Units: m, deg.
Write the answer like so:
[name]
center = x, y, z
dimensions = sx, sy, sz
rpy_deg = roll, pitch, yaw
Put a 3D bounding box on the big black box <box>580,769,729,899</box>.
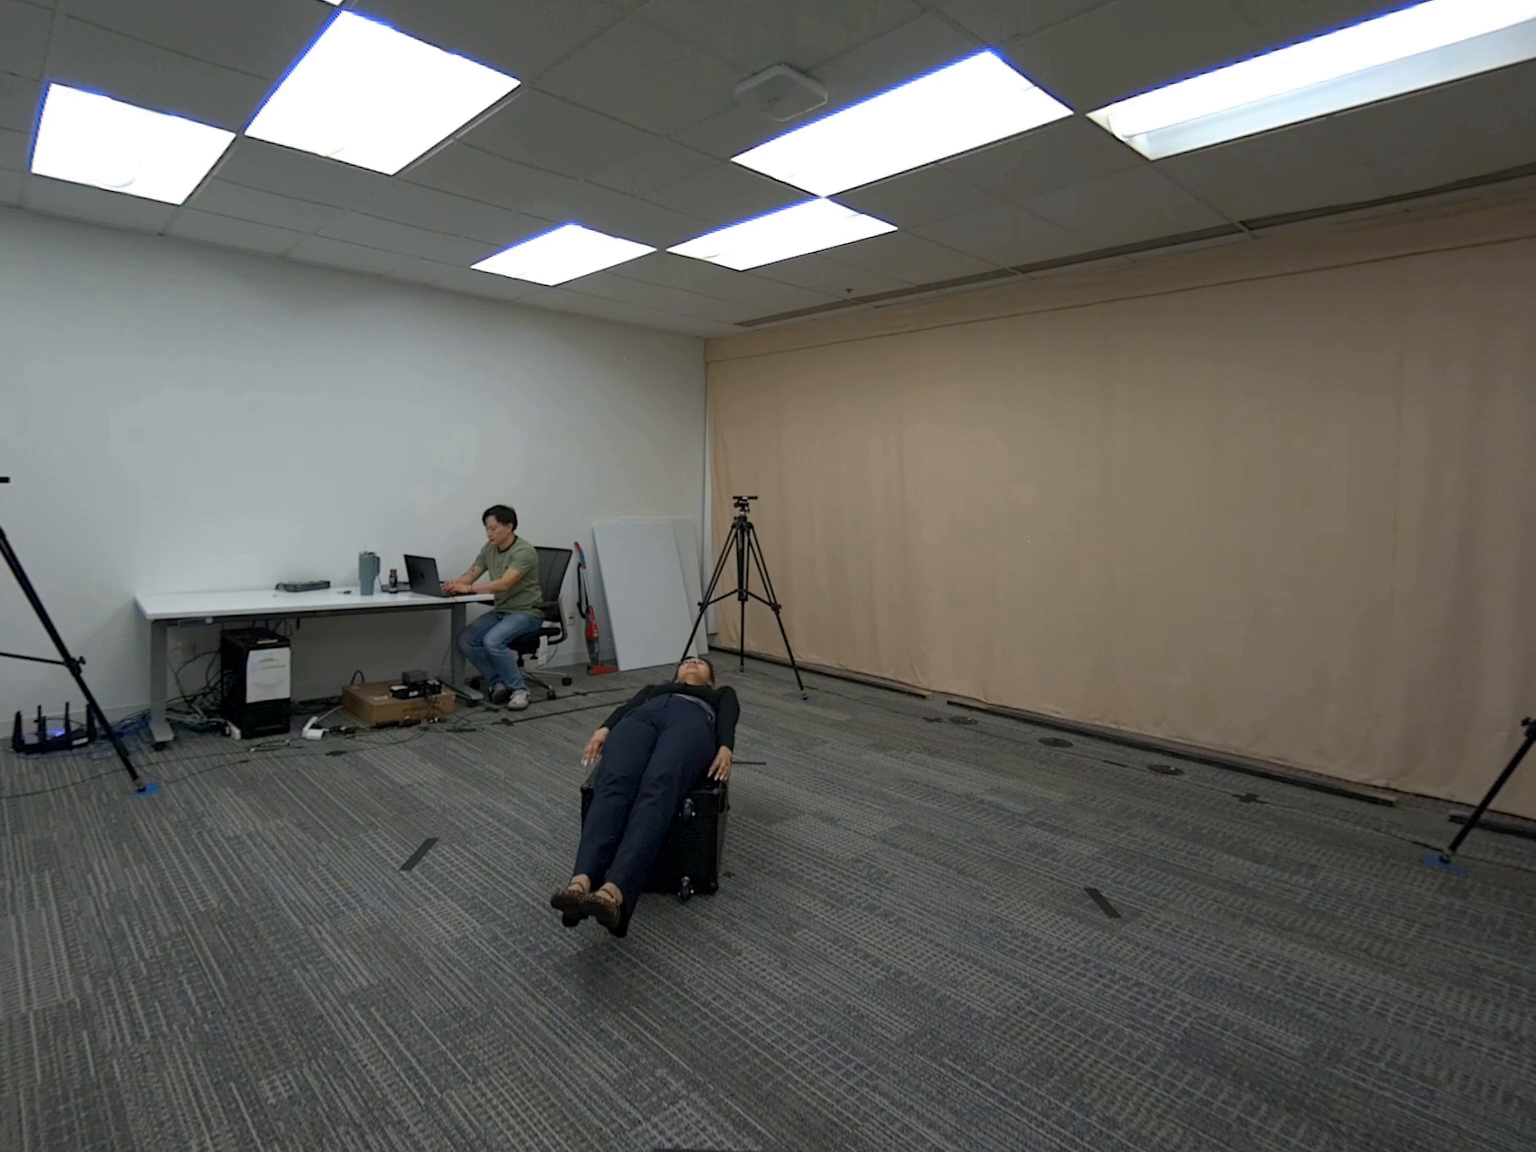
[big black box]
center = -0.419, 0.887, 3.273
dimensions = 0.522, 0.395, 0.863
rpy_deg = 2, 5, 1
